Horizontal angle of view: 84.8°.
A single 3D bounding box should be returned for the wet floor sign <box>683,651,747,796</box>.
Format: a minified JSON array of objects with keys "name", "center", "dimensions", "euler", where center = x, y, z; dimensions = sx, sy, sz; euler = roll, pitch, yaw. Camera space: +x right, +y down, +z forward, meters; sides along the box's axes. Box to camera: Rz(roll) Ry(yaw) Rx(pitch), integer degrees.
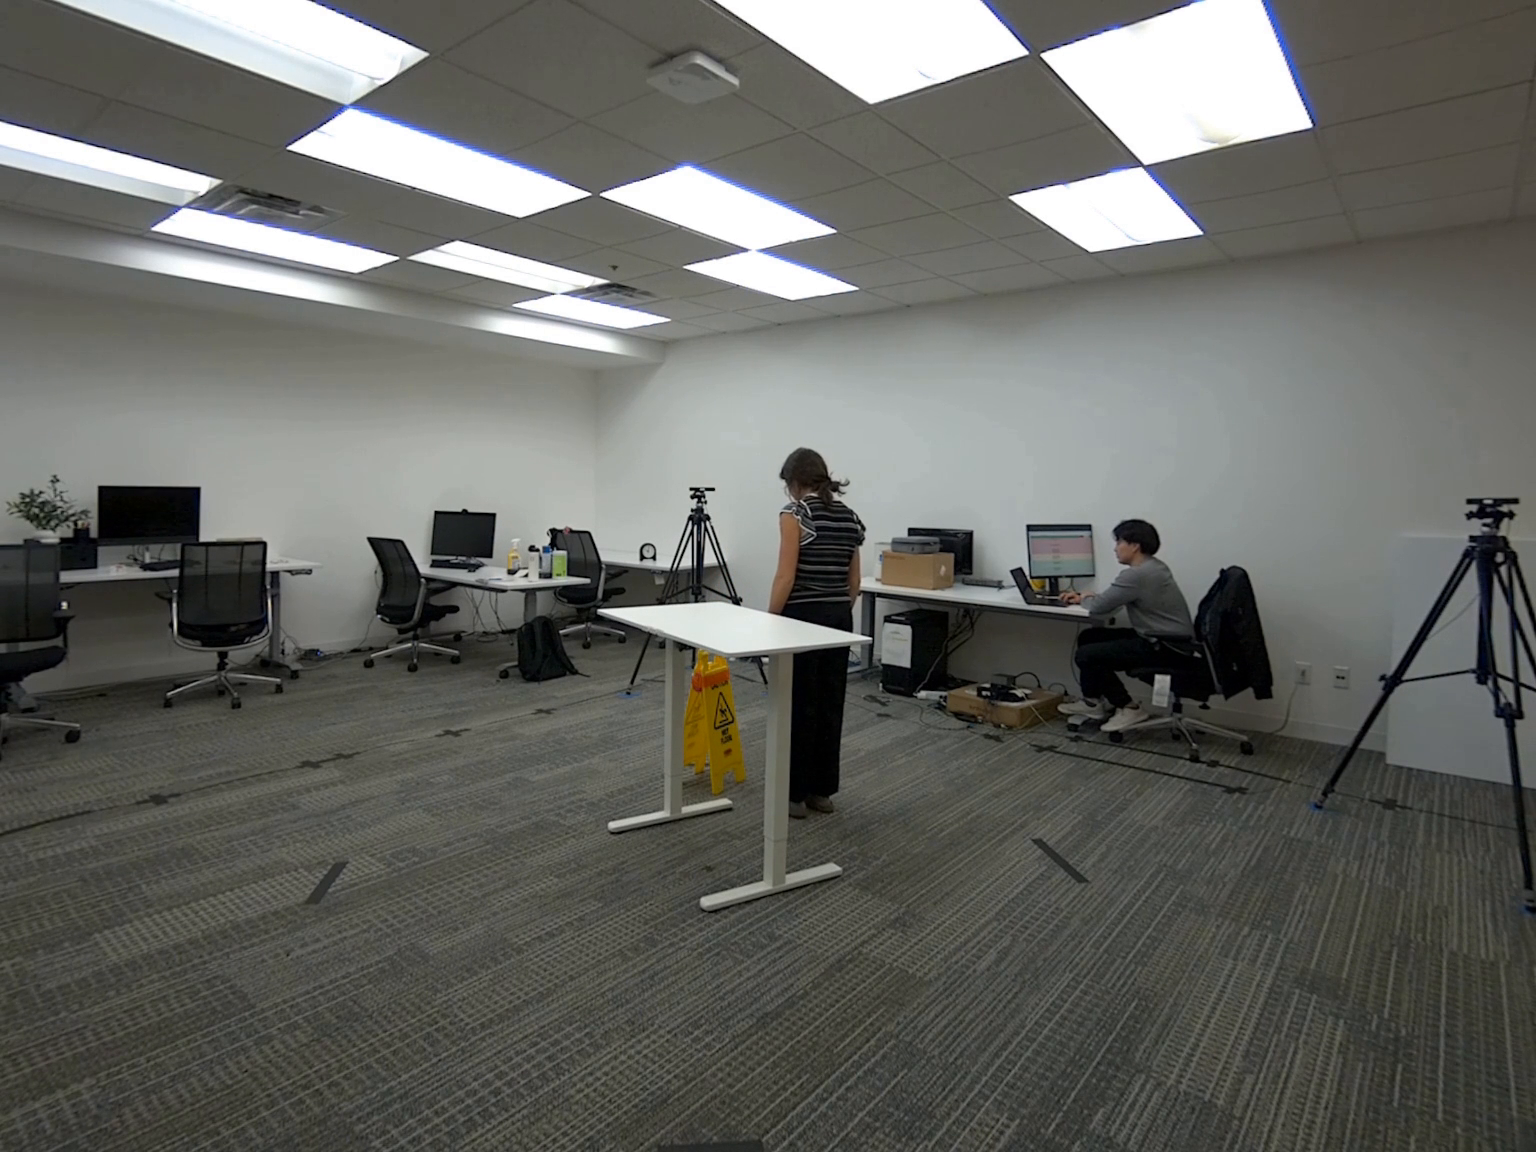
[{"name":"wet floor sign","center":[-0.287,0.653,4.028],"dimensions":[0.298,0.644,0.275],"euler":[3,3,29]}]
